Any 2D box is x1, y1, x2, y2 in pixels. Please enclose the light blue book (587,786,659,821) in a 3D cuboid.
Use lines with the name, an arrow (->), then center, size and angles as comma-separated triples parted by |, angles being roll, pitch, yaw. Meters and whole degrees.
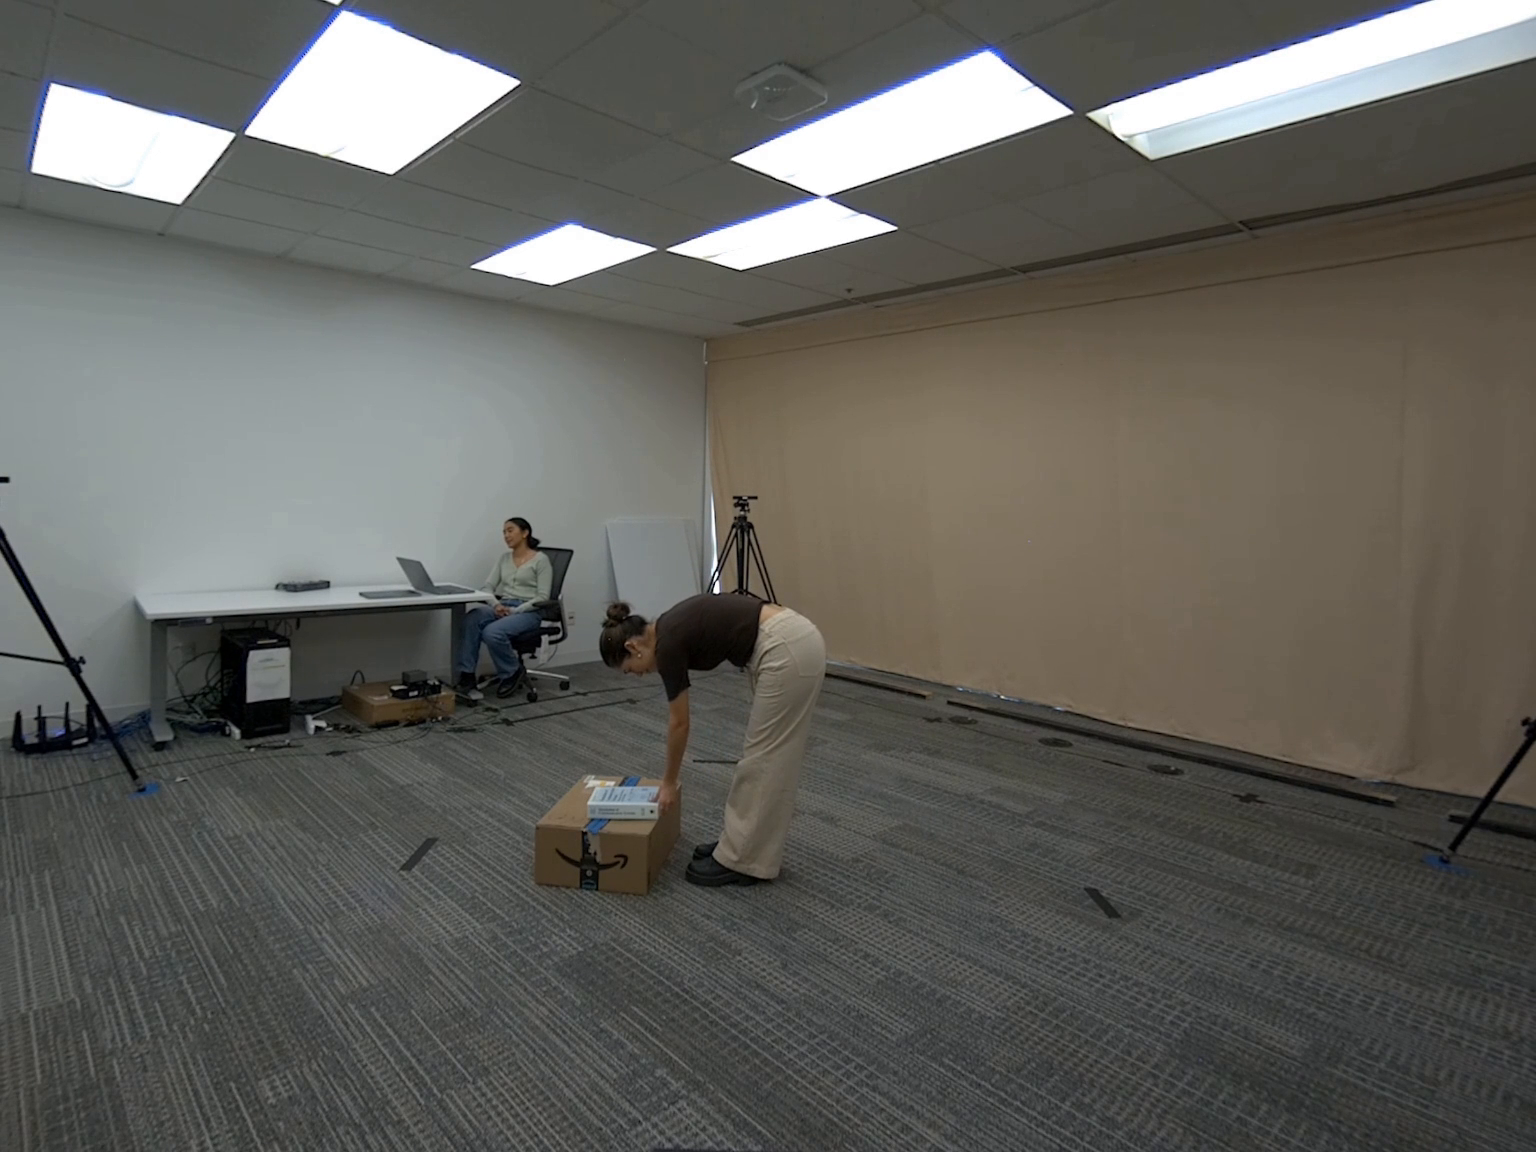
light blue book -> -0.531, 0.844, 3.155 | 0.261, 0.059, 0.191 | 0, 5, 1
